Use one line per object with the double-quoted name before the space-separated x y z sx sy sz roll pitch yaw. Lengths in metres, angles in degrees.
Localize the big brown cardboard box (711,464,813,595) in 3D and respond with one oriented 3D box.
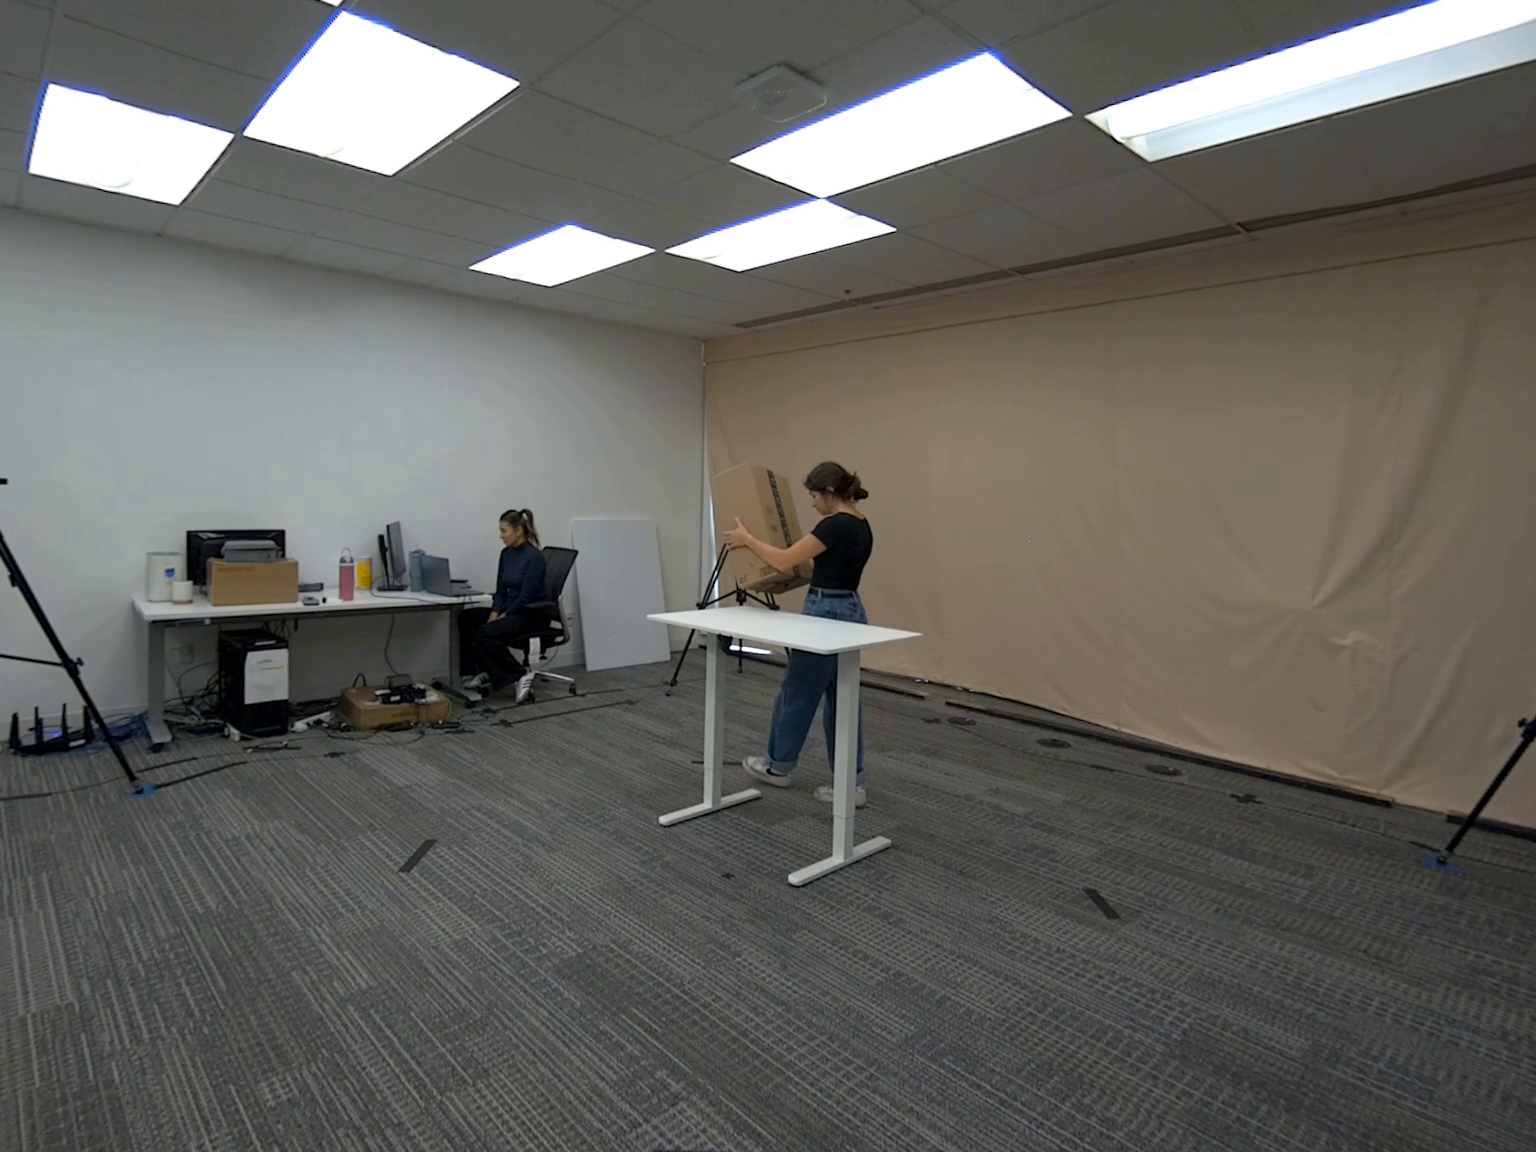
"big brown cardboard box" -0.035 -0.227 4.111 0.235 0.597 0.407 -21 -16 23
